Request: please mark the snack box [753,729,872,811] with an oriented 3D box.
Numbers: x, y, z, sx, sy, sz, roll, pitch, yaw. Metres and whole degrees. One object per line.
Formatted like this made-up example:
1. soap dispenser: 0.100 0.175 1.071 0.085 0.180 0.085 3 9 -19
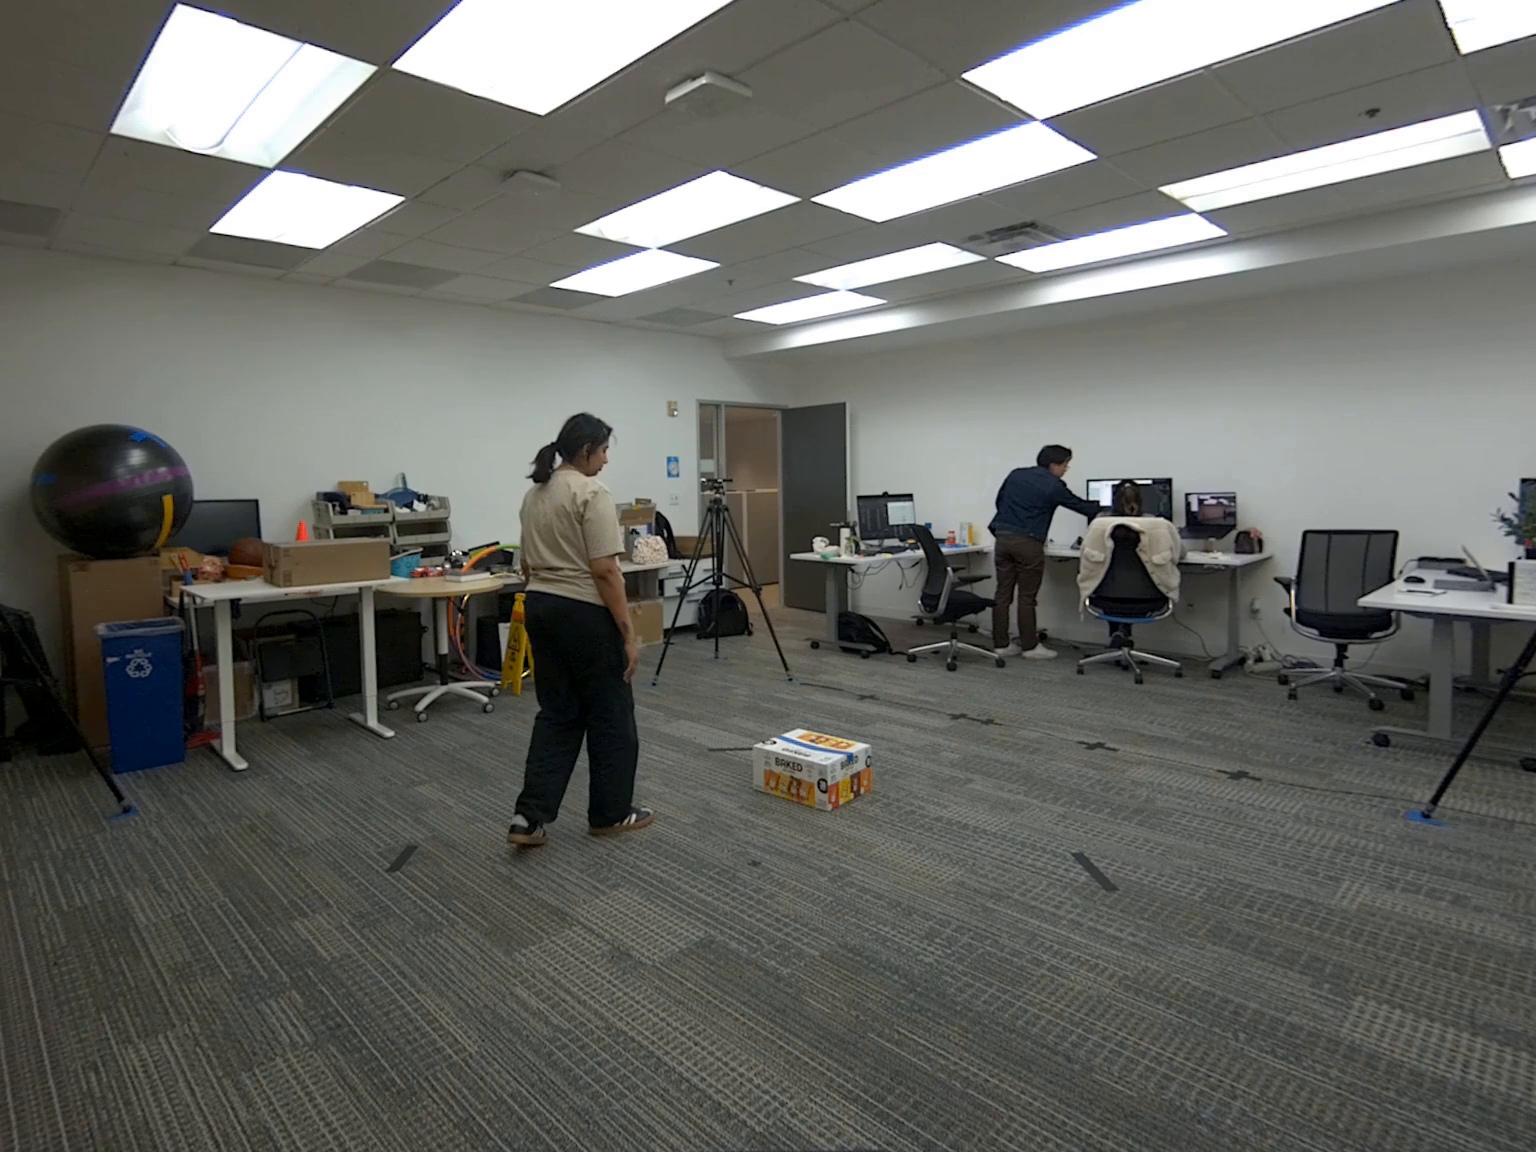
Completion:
1. snack box: 0.199 0.859 3.828 0.417 0.205 0.331 4 7 40
